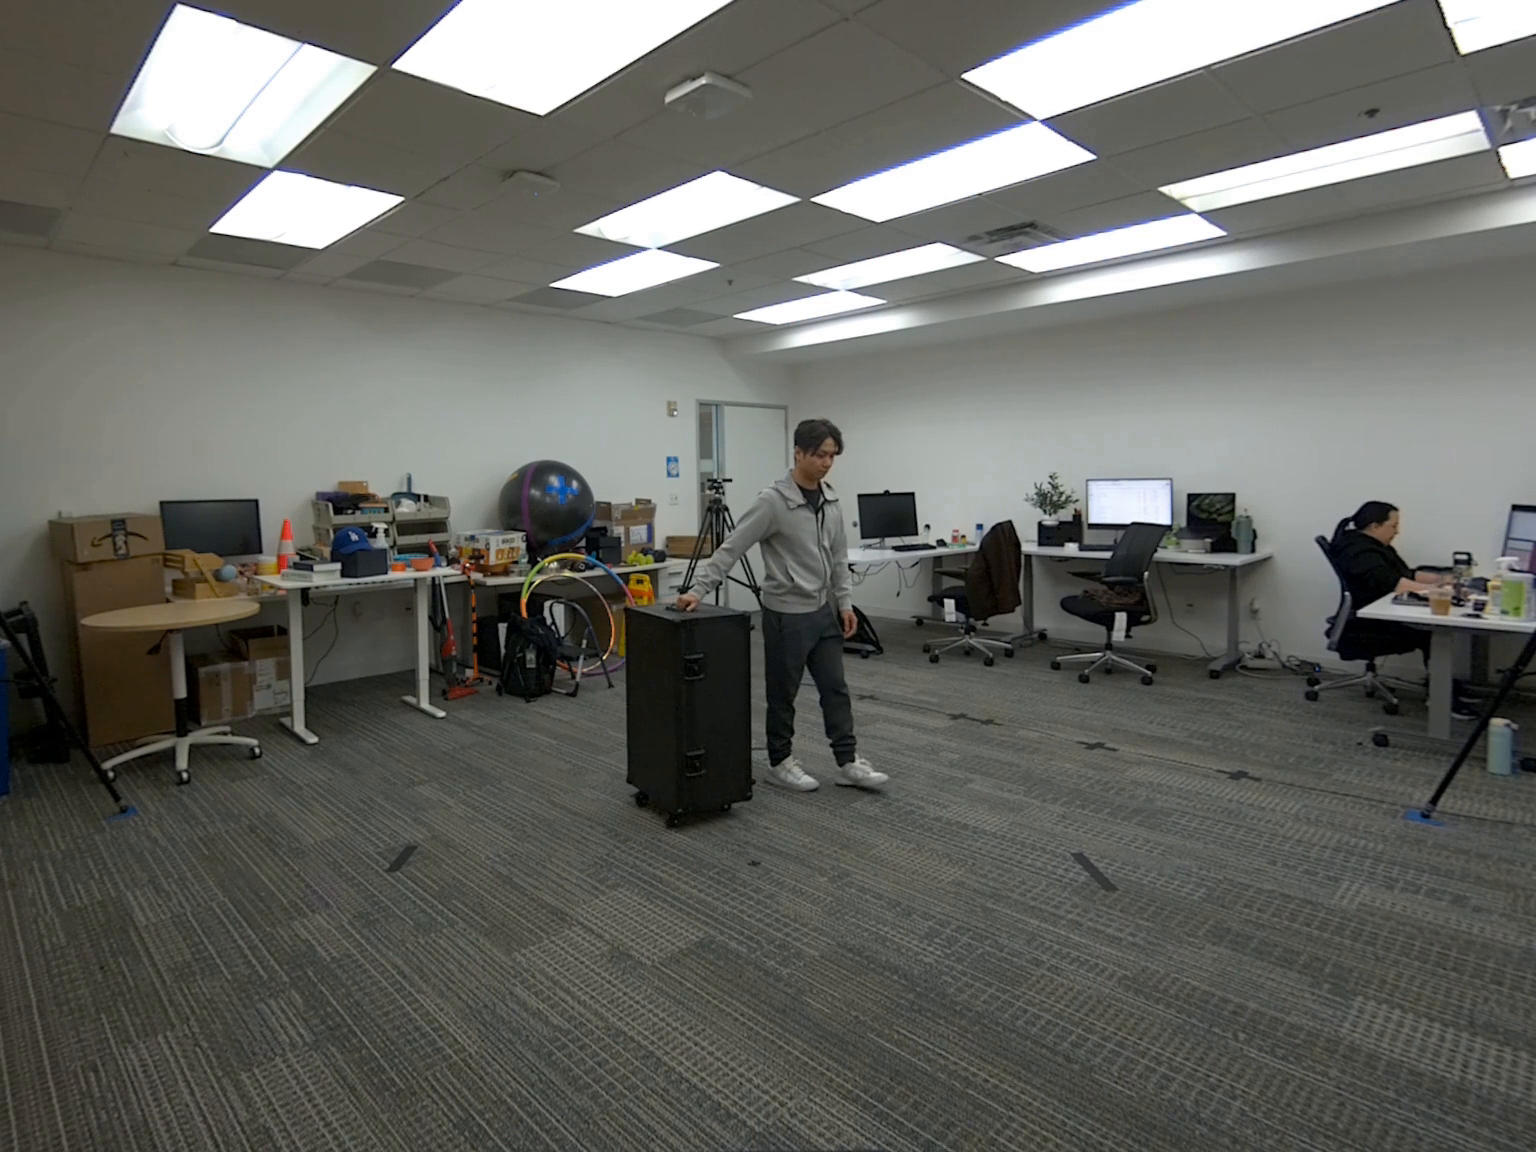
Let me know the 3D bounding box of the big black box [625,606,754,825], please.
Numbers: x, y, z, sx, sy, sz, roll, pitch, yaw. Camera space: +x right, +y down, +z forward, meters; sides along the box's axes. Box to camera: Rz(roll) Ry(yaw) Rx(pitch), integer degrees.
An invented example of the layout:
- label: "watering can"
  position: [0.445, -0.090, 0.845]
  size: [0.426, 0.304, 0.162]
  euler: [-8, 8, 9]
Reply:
- label: "big black box"
  position: [-0.338, 0.564, 3.651]
  size: [0.386, 0.860, 0.535]
  euler: [-1, 3, -32]
